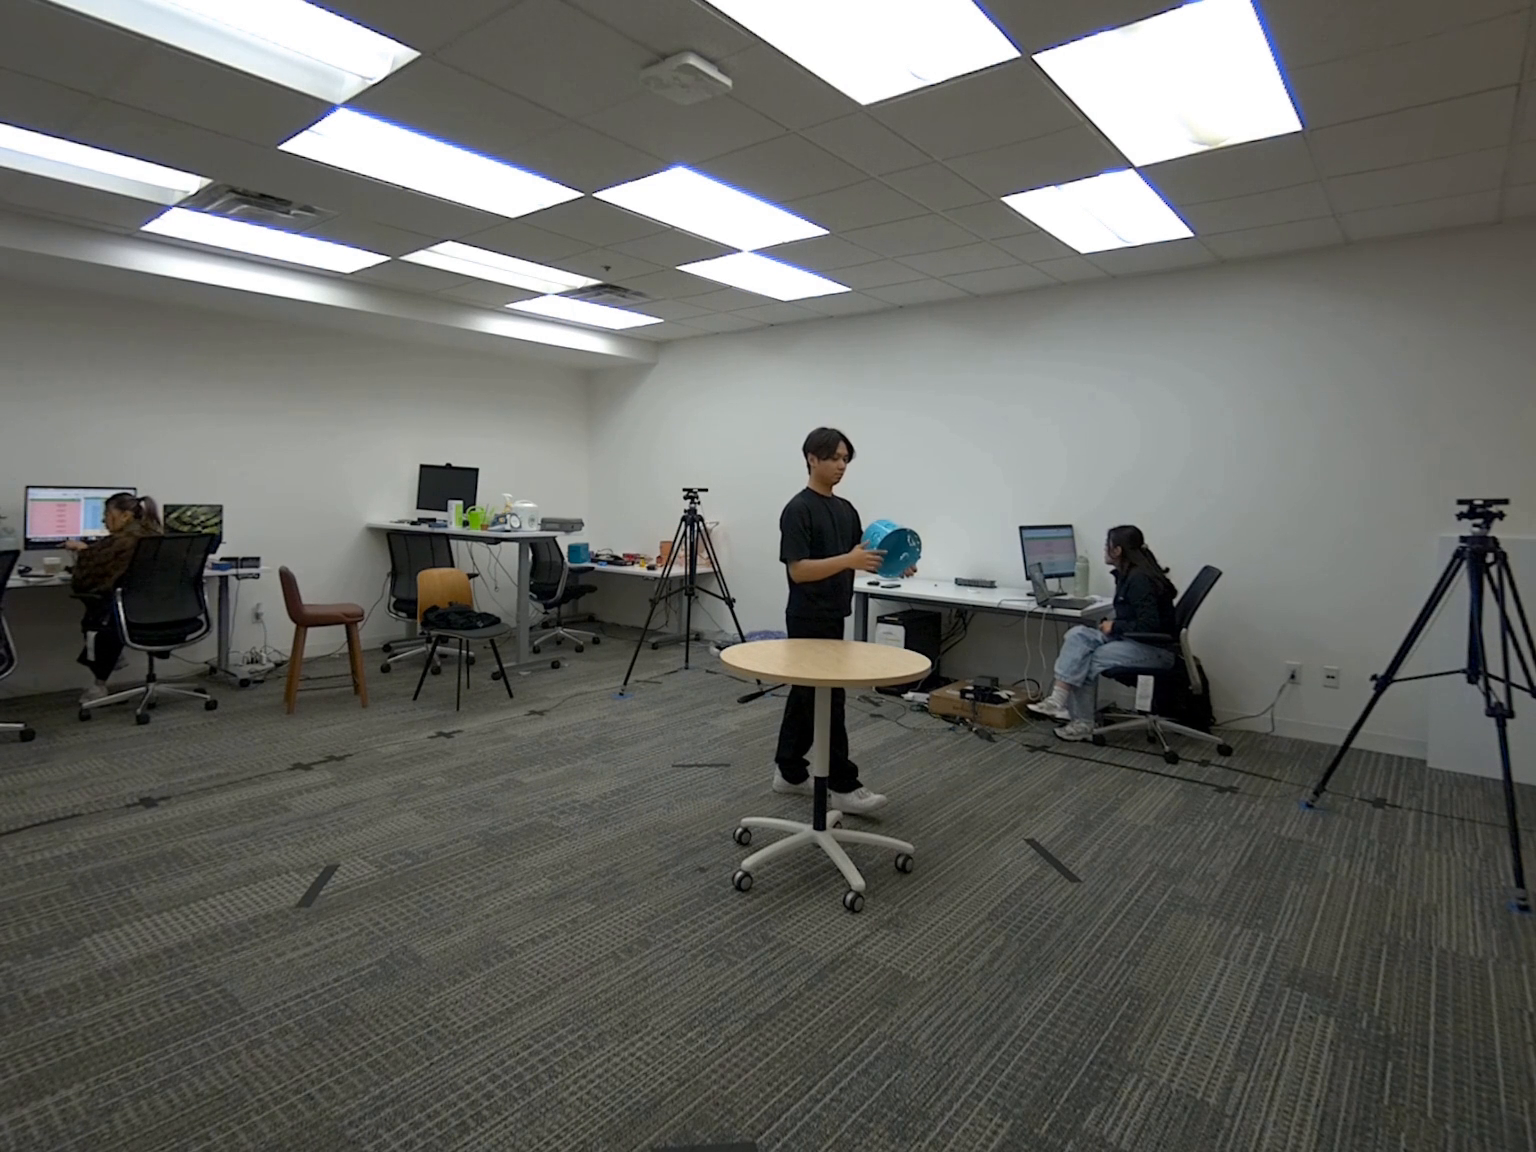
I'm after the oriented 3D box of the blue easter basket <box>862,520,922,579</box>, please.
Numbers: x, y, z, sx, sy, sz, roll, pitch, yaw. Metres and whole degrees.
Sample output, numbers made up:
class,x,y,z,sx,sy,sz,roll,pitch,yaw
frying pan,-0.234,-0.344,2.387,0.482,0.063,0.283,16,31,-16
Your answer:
class,x,y,z,sx,sy,sz,roll,pitch,yaw
blue easter basket,0.501,-0.129,3.609,0.238,0.240,0.162,-1,24,-24
